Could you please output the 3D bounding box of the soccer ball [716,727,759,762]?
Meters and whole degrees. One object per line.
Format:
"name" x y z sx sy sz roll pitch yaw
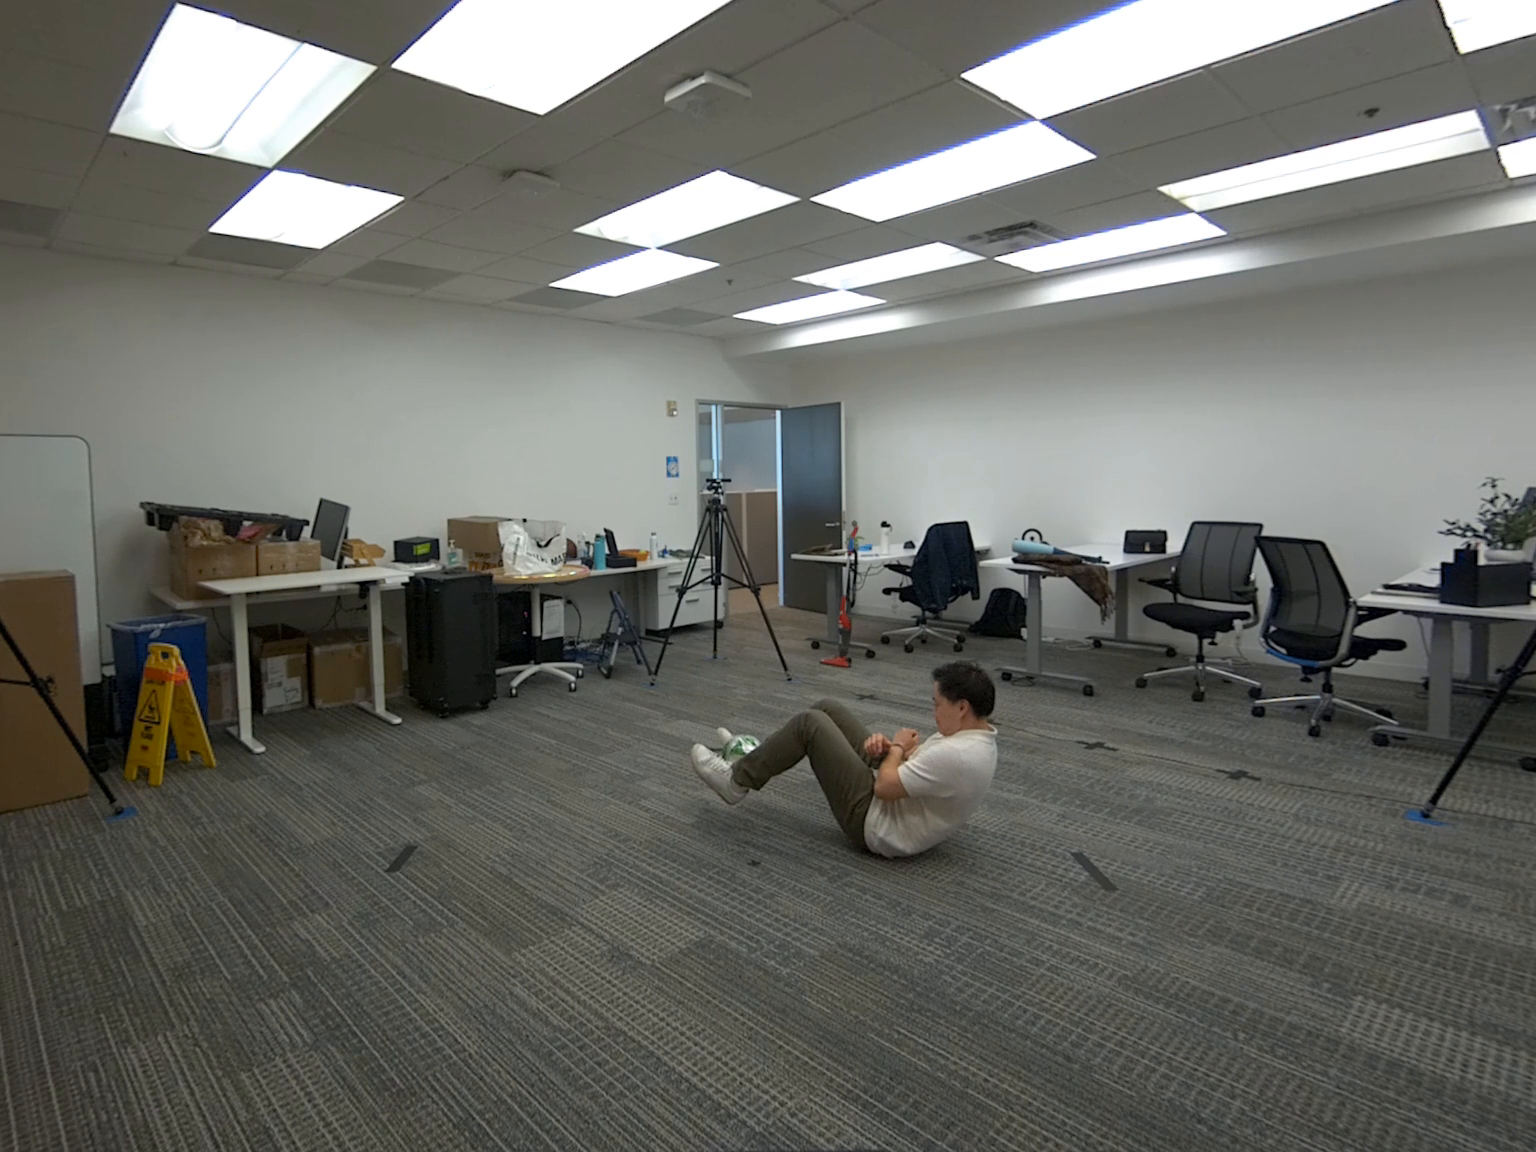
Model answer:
"soccer ball" -0.084 0.743 3.493 0.187 0.187 0.188 -1 5 -2
